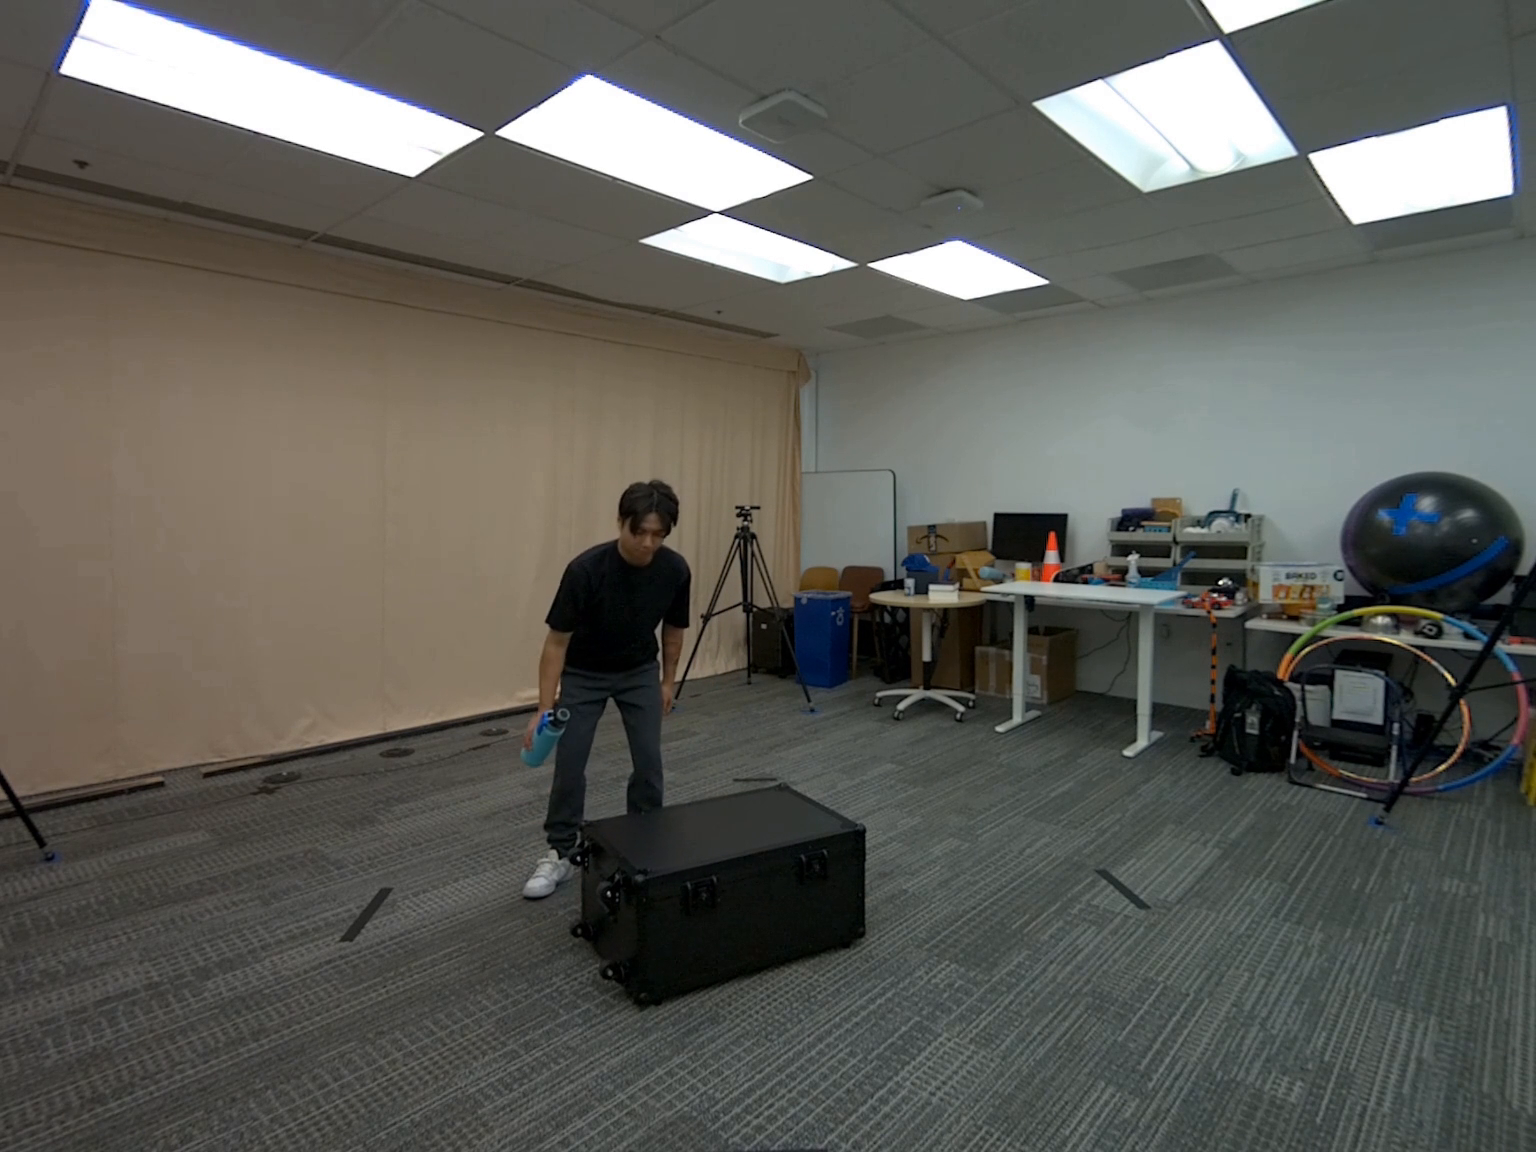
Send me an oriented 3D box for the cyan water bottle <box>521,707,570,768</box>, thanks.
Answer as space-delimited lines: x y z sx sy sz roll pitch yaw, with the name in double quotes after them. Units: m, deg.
-0.763 0.553 2.900 0.090 0.284 0.094 18 41 -18 "cyan water bottle"
